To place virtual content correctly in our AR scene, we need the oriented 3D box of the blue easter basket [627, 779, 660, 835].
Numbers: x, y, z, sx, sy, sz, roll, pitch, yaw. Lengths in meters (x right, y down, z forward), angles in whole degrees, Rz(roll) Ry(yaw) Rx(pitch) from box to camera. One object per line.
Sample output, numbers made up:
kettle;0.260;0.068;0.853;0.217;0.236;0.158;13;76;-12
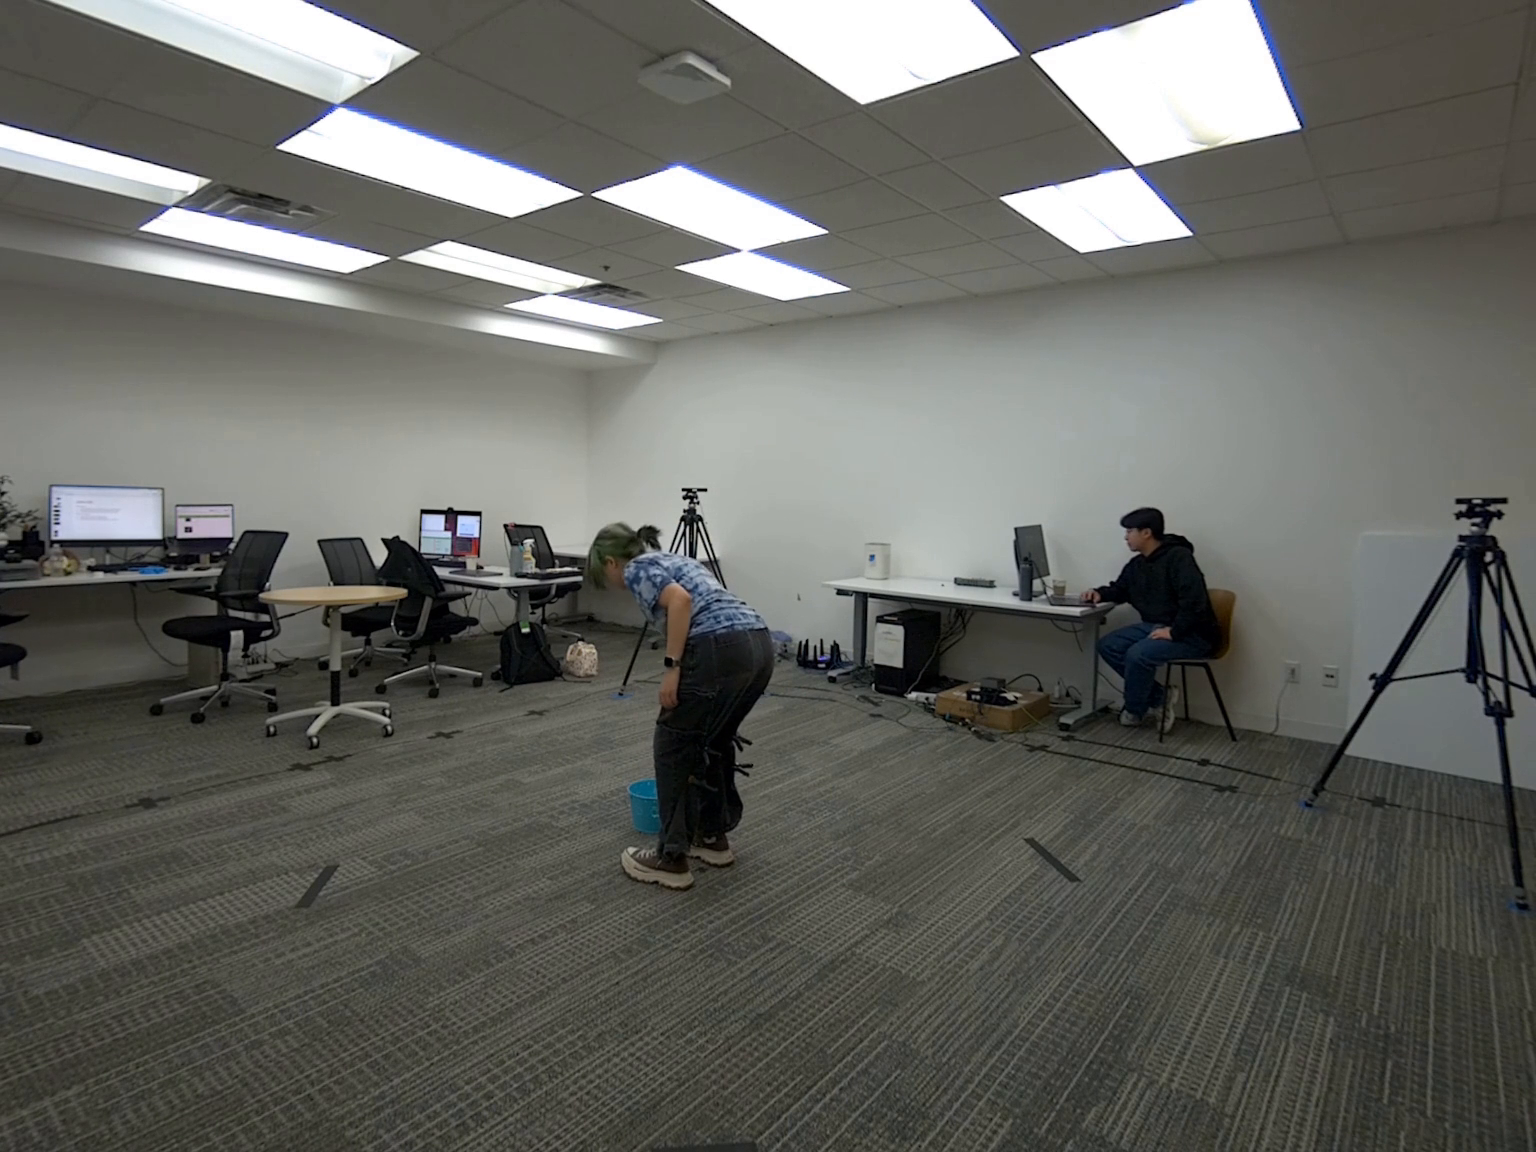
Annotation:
blue easter basket;-0.476;0.945;3.522;0.243;0.155;0.245;1;5;-2
